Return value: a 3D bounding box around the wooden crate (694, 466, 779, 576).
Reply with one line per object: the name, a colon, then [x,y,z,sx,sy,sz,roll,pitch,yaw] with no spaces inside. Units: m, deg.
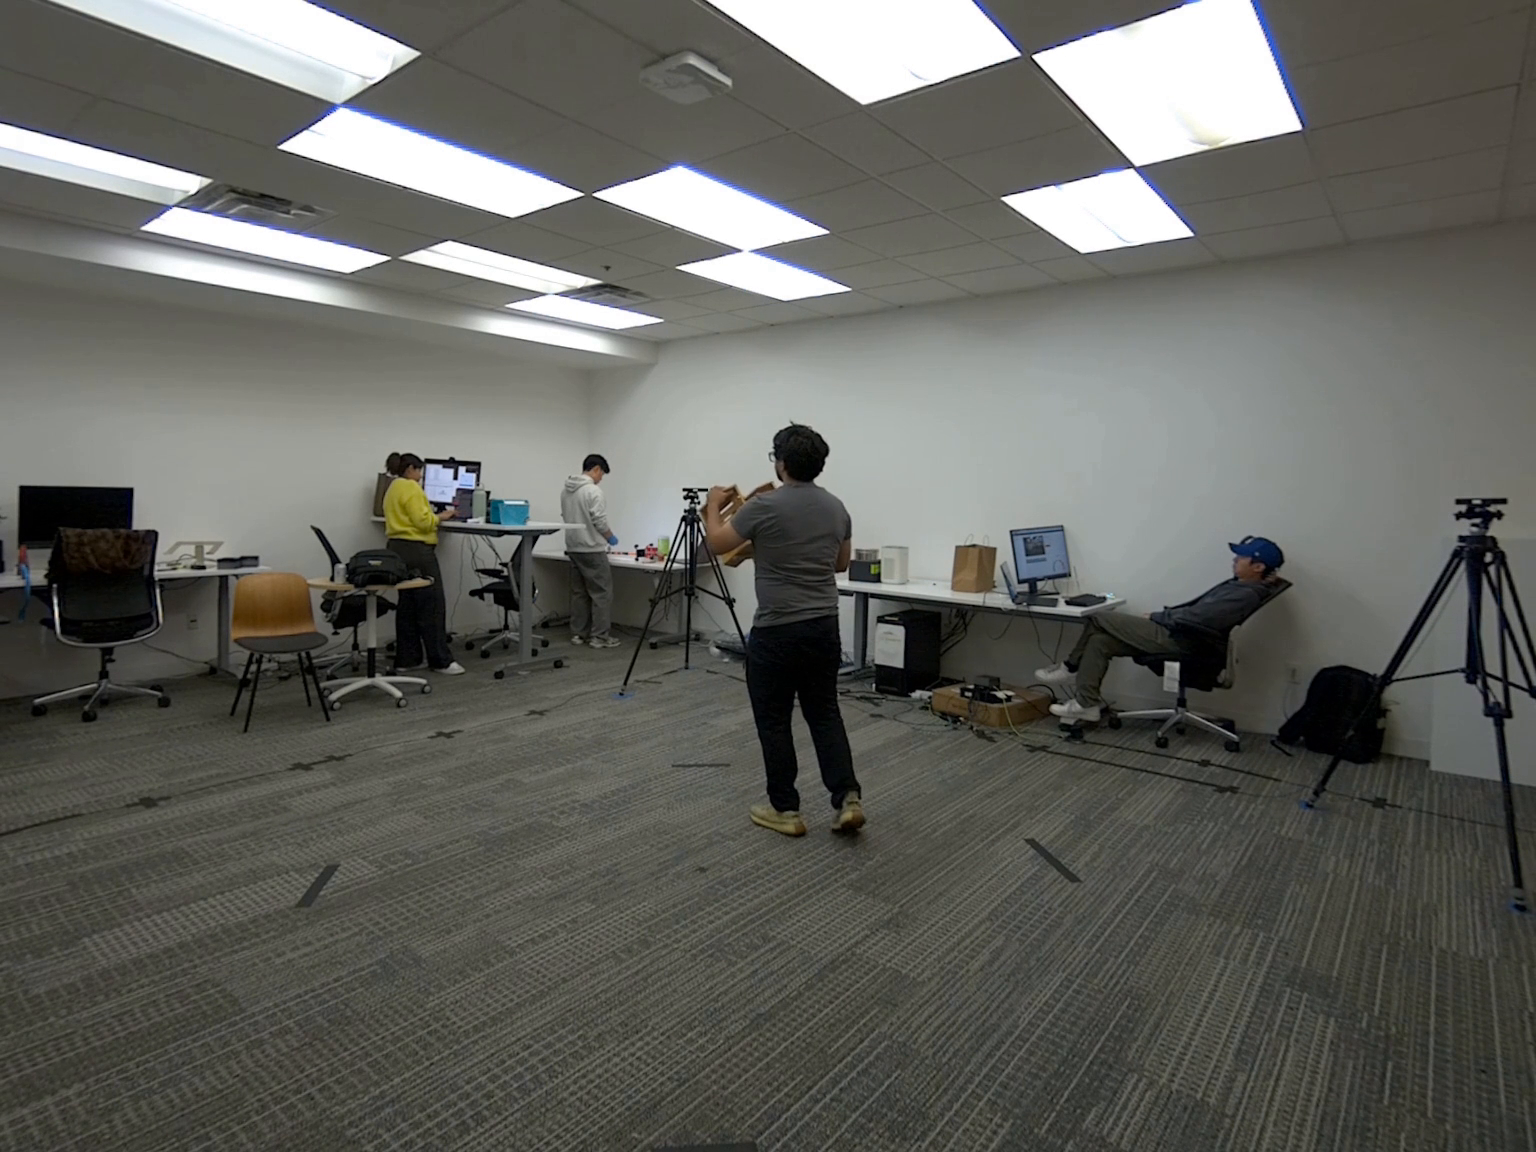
wooden crate: [-0.079,-0.237,3.730,0.303,0.336,0.263,-40,-31,23]
